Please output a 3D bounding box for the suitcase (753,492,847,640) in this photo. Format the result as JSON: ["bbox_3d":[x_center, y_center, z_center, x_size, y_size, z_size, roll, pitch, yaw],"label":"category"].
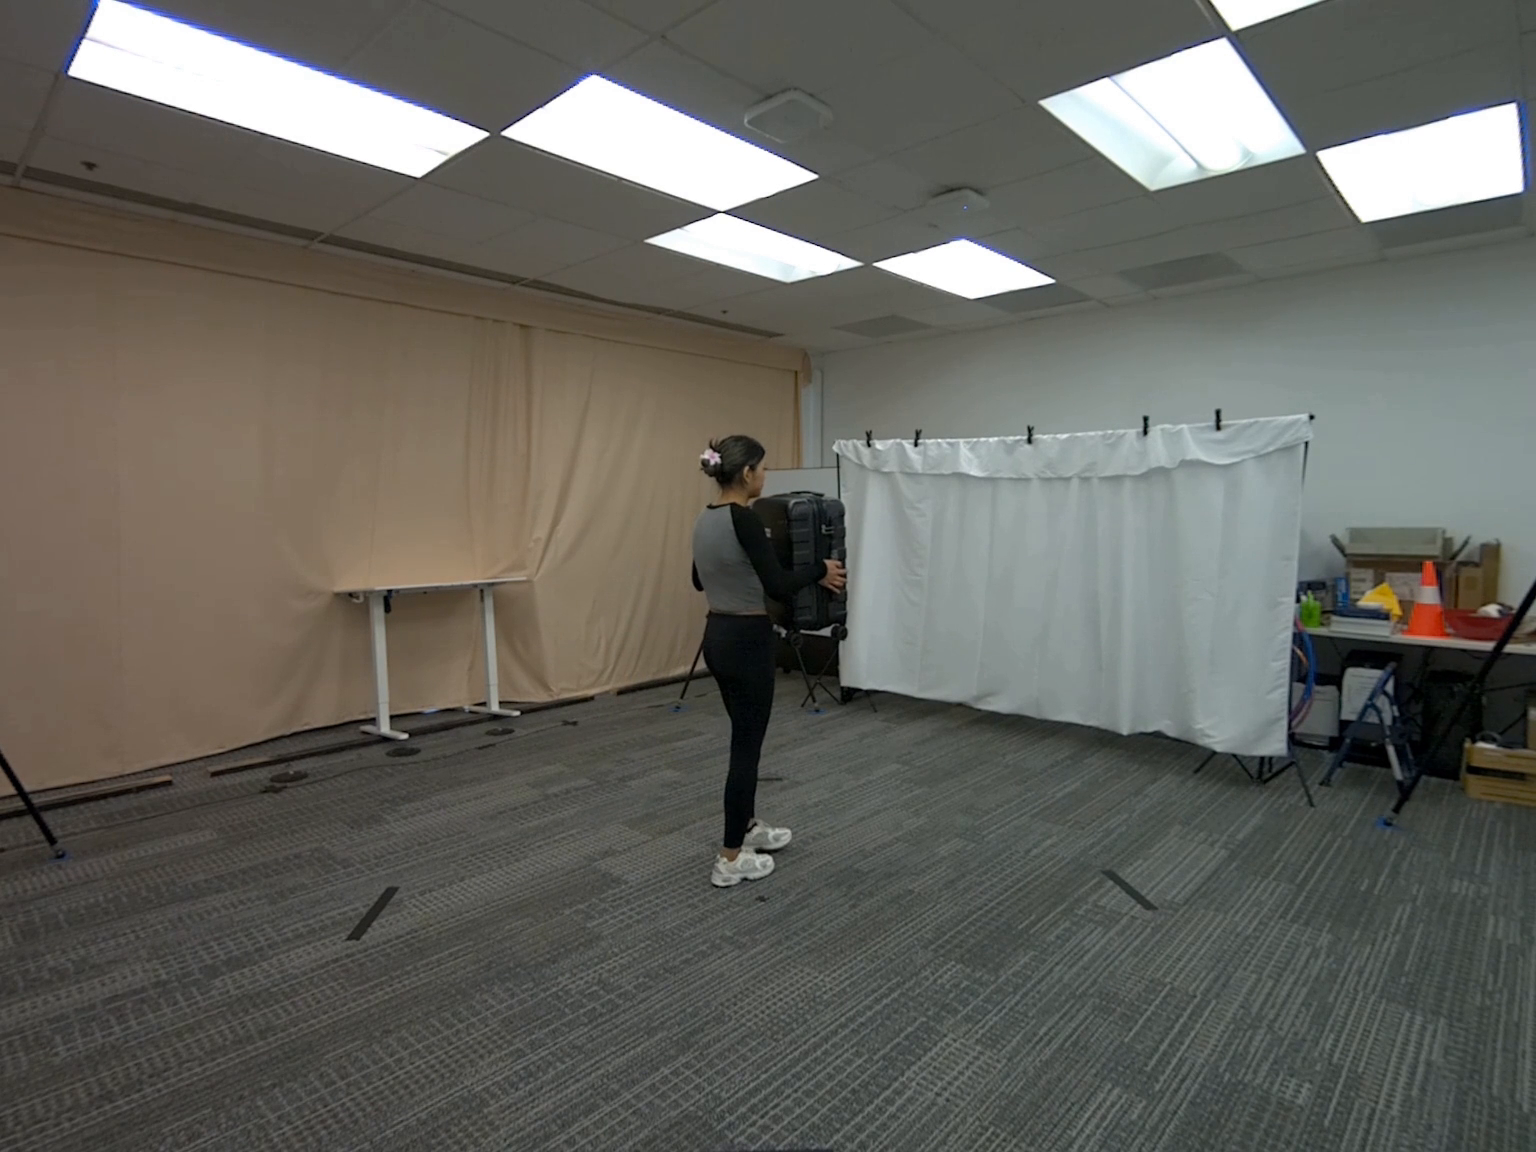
[{"bbox_3d":[0.121,-0.046,3.230,0.242,0.546,0.387,-6,9,-29],"label":"suitcase"}]
